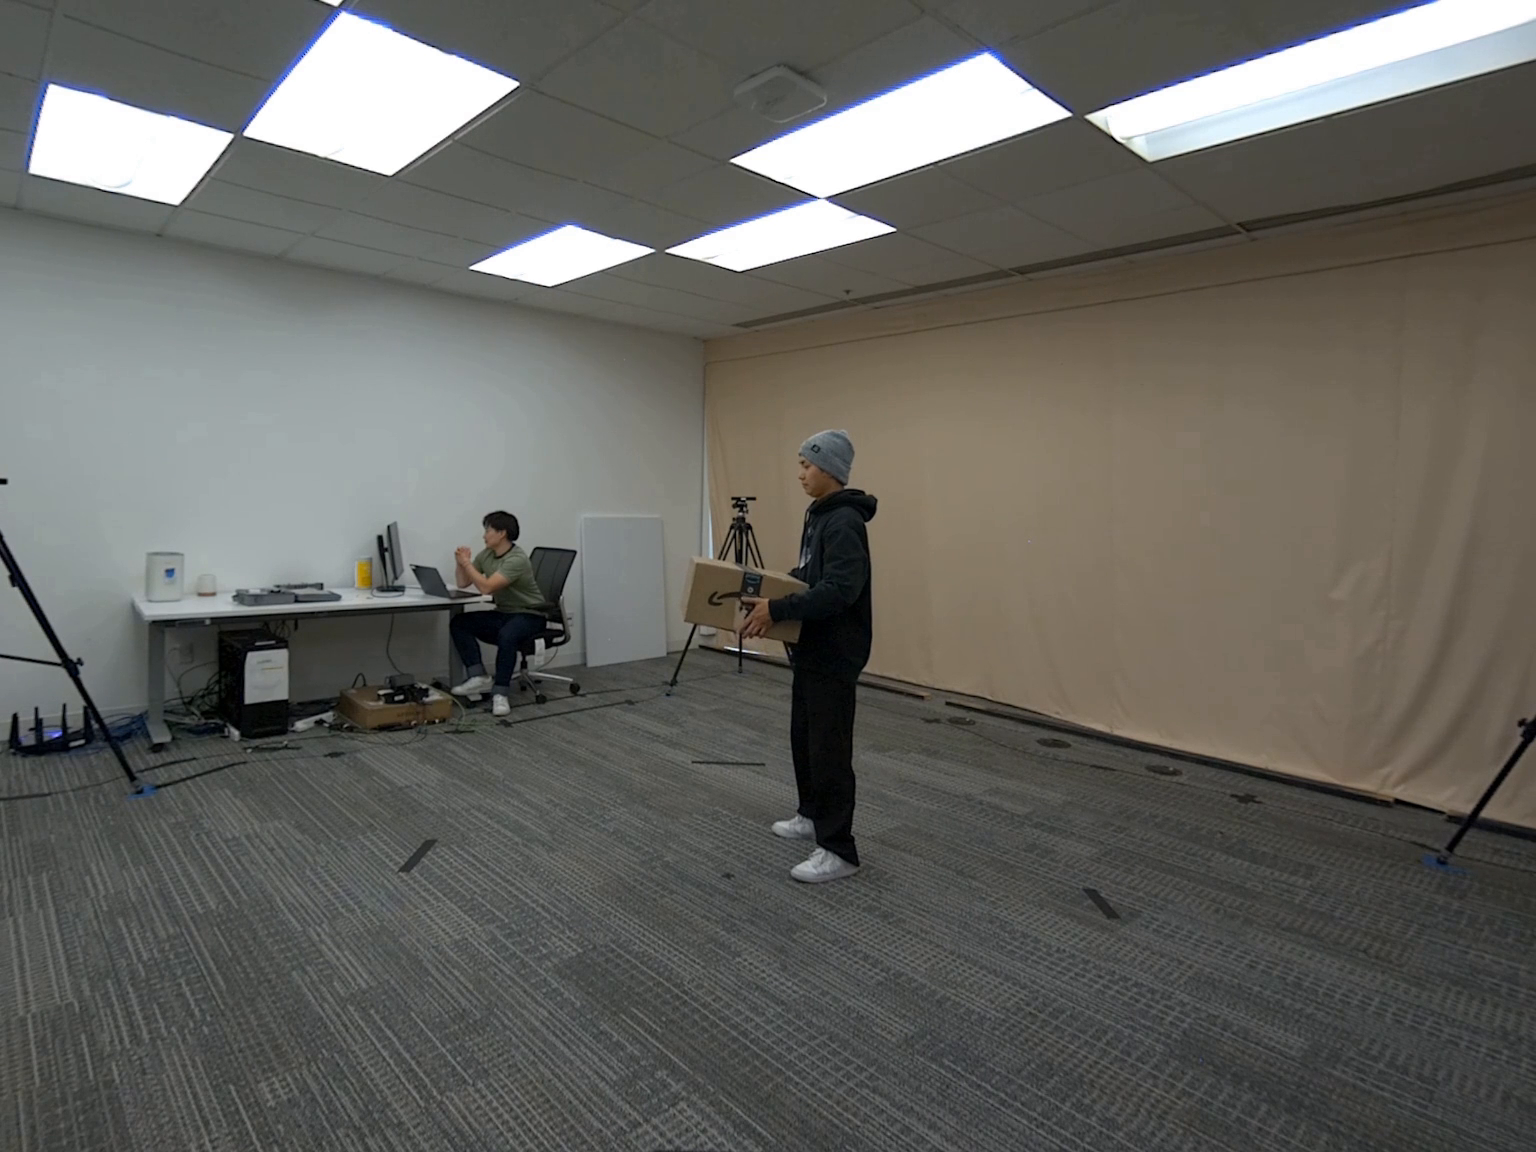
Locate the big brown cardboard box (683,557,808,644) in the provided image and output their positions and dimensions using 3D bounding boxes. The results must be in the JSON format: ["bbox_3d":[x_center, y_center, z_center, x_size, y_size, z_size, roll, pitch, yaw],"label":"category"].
[{"bbox_3d":[-0.109,0.075,3.242,0.416,0.233,0.591,9,1,-4],"label":"big brown cardboard box"}]
